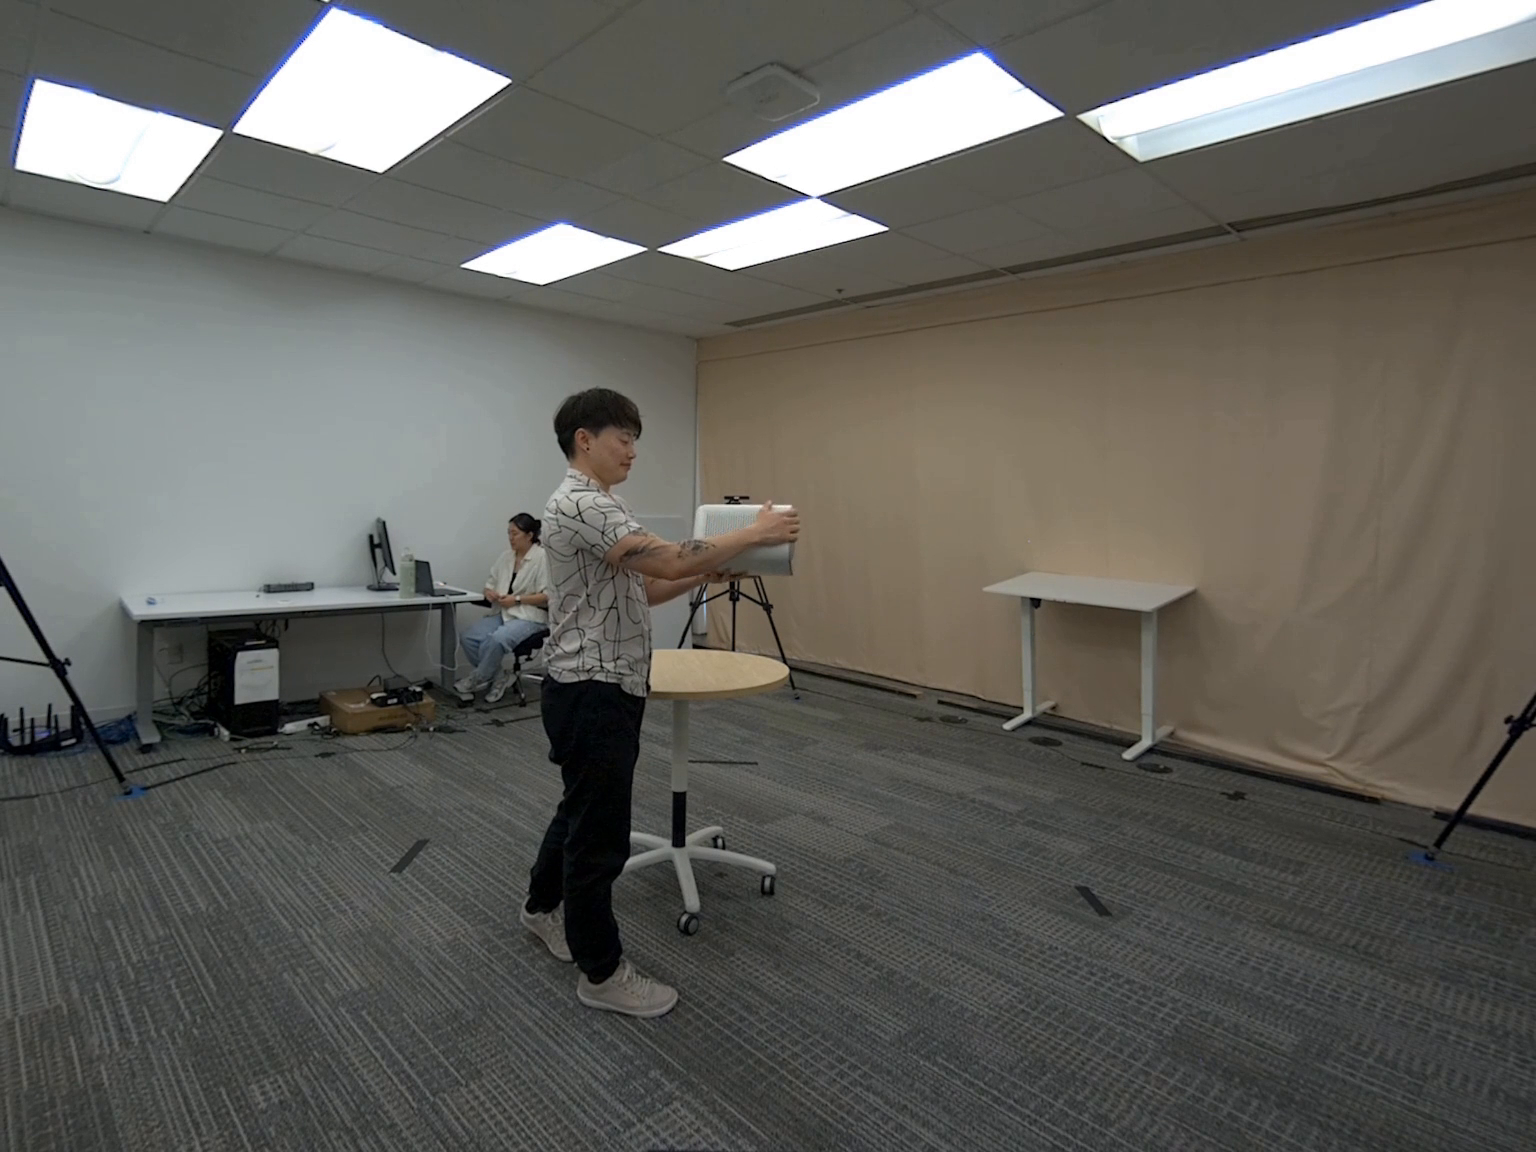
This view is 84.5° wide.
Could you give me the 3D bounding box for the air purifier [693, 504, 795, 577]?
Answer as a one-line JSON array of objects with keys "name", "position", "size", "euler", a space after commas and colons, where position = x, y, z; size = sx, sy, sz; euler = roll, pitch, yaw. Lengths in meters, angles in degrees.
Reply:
[{"name": "air purifier", "position": [-0.069, -0.098, 2.290], "size": [0.267, 0.174, 0.167], "euler": [1, -21, 8]}]
